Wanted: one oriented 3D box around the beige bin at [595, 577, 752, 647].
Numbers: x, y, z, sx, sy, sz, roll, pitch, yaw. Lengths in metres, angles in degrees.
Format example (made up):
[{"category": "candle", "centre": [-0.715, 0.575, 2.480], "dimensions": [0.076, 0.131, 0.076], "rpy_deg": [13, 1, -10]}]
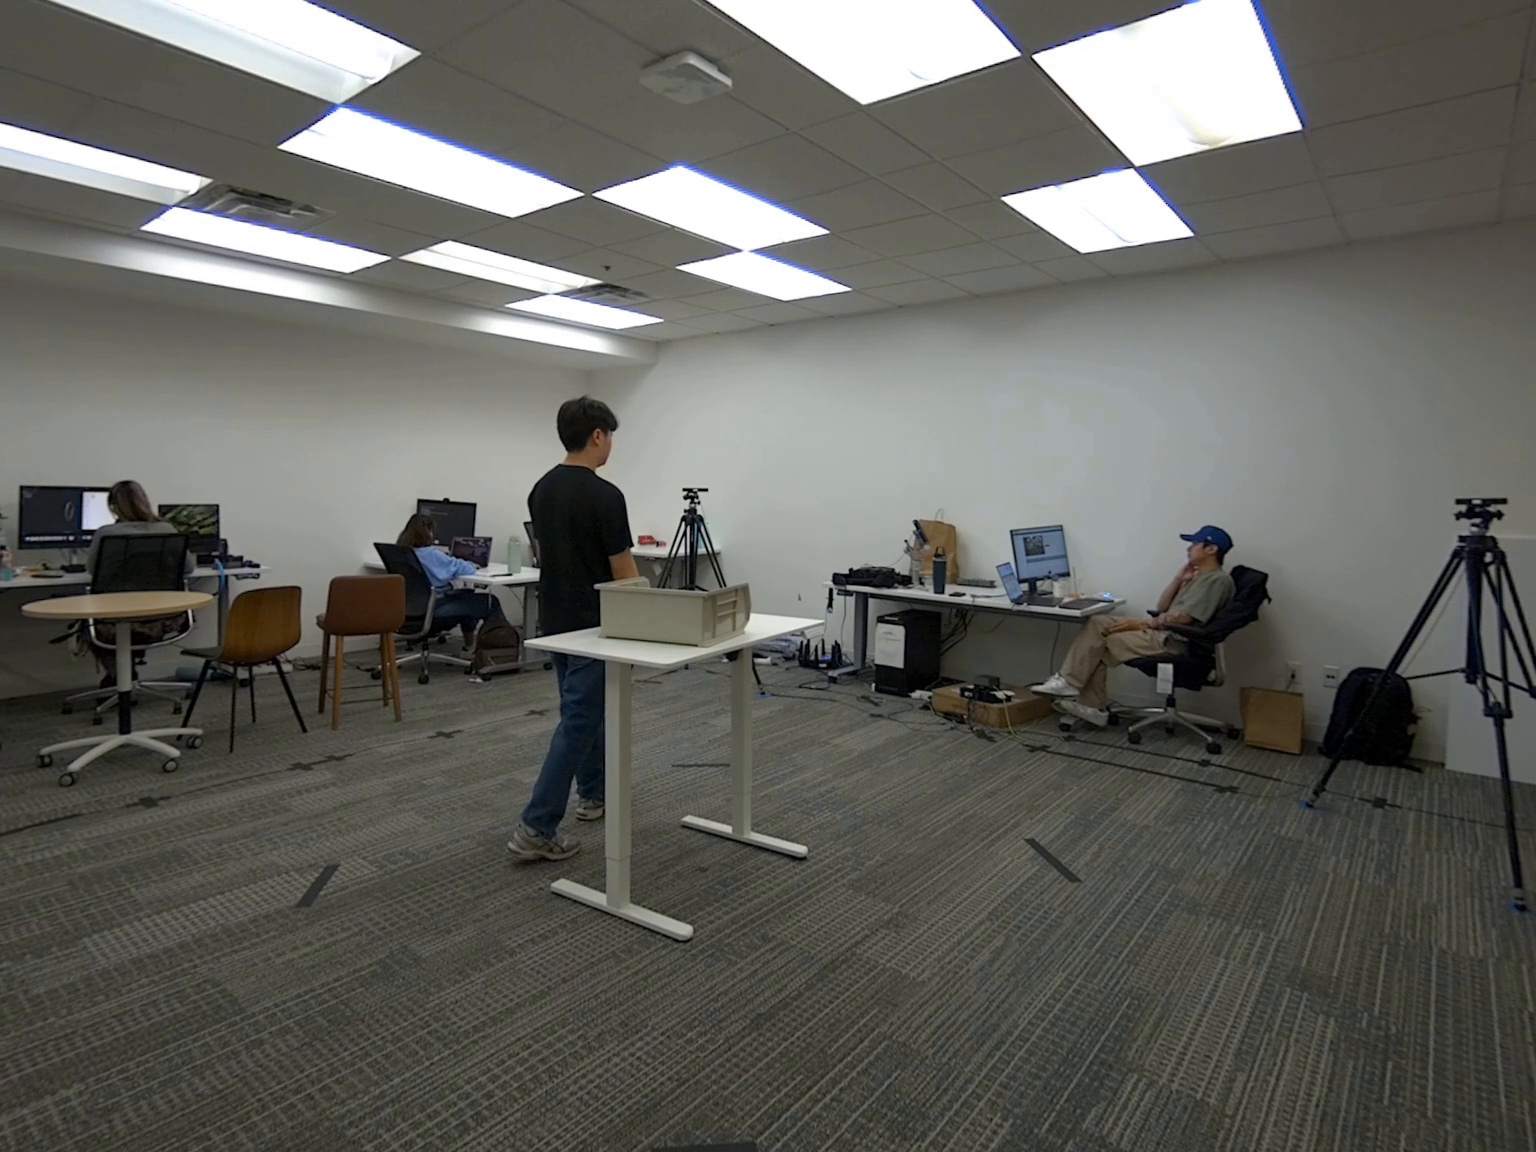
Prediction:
[{"category": "beige bin", "centre": [-0.333, 0.114, 2.940], "dimensions": [0.433, 0.188, 0.370], "rpy_deg": [3, 7, 24]}]
